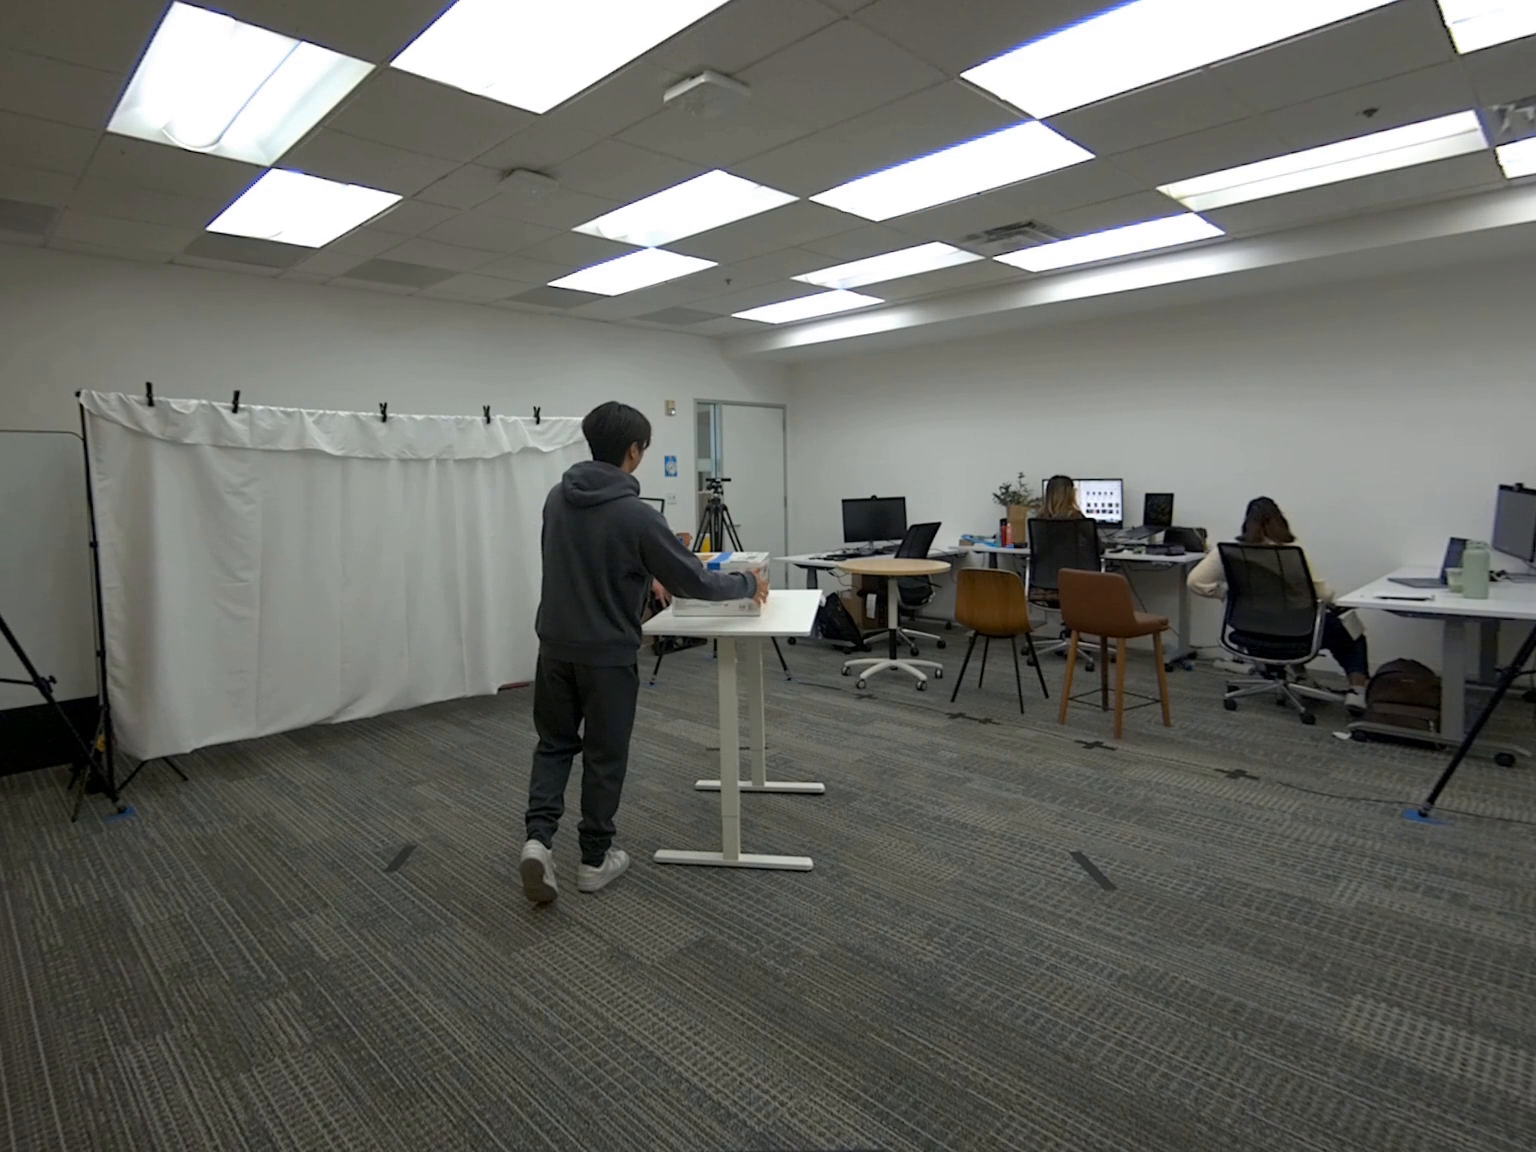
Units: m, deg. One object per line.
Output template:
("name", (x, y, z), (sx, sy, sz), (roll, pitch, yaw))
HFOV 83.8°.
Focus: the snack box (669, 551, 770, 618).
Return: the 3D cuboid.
("snack box", (-0.178, 0.029, 3.399), (0.343, 0.205, 0.404), (-1, 6, 7))
